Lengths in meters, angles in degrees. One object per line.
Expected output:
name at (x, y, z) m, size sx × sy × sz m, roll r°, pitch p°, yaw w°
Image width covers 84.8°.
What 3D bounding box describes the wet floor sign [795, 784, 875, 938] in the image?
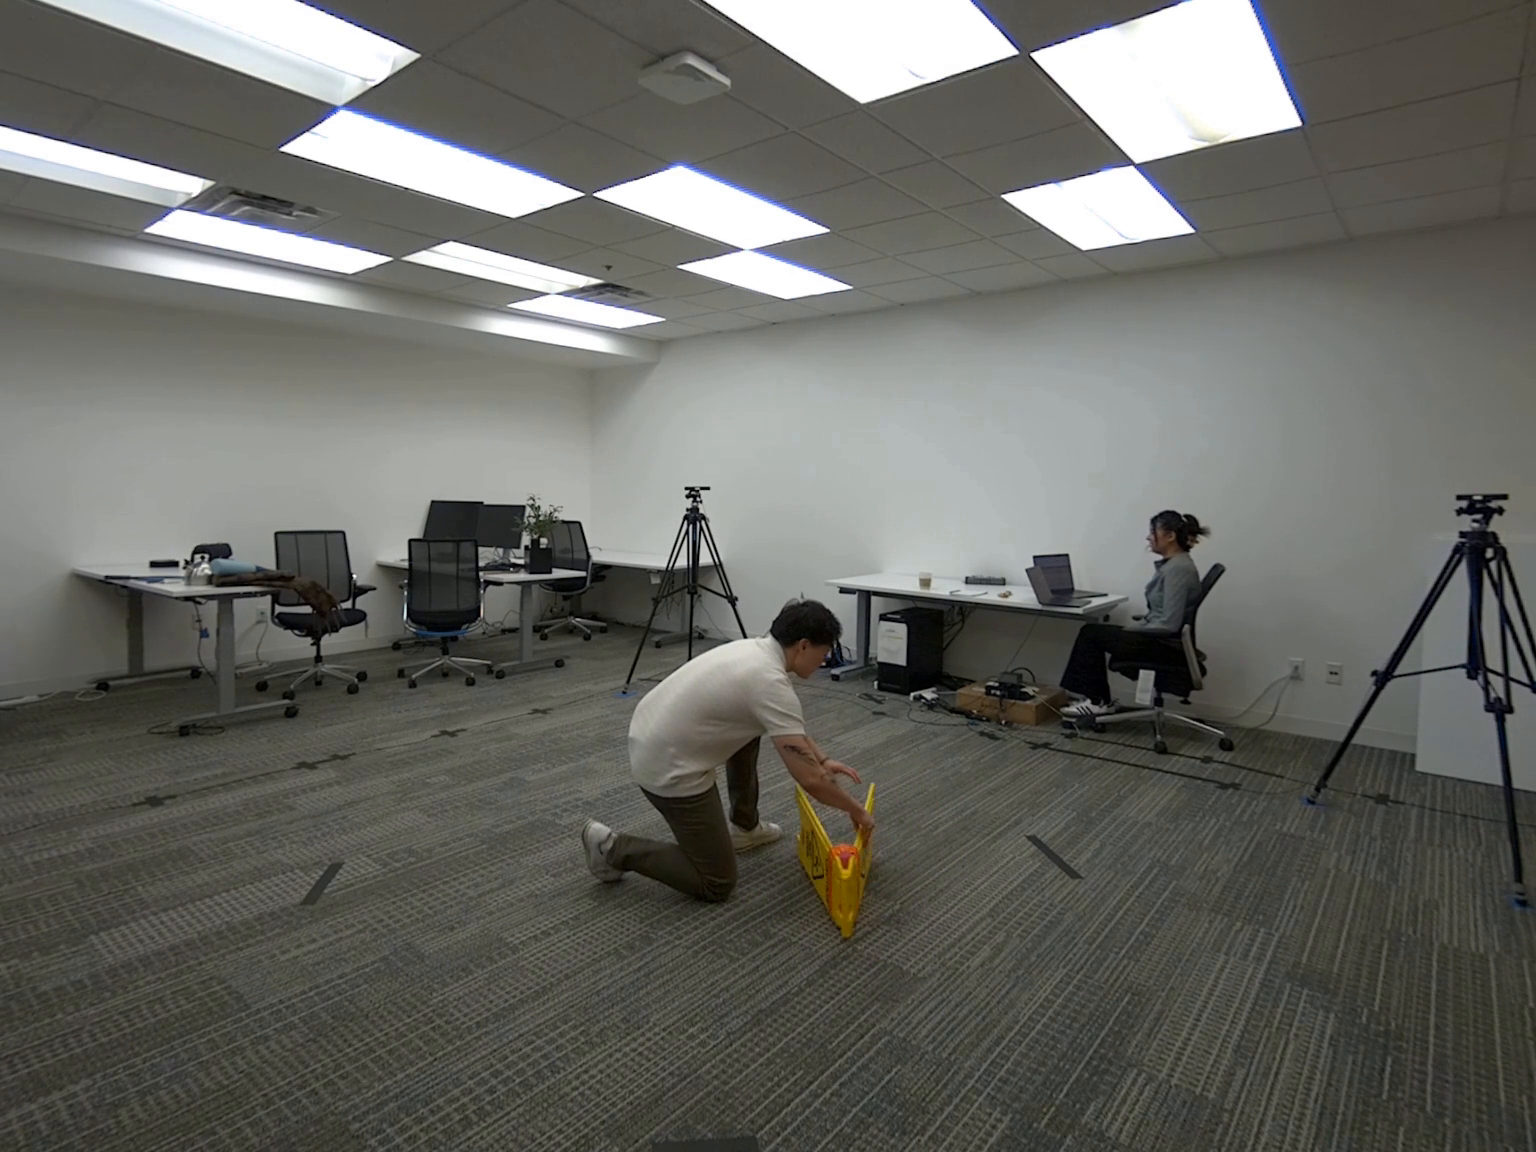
wet floor sign at (0.249, 0.956, 2.910) m, size 0.291 × 0.280 × 0.649 m, roll -1°, pitch 9°, yaw 1°
